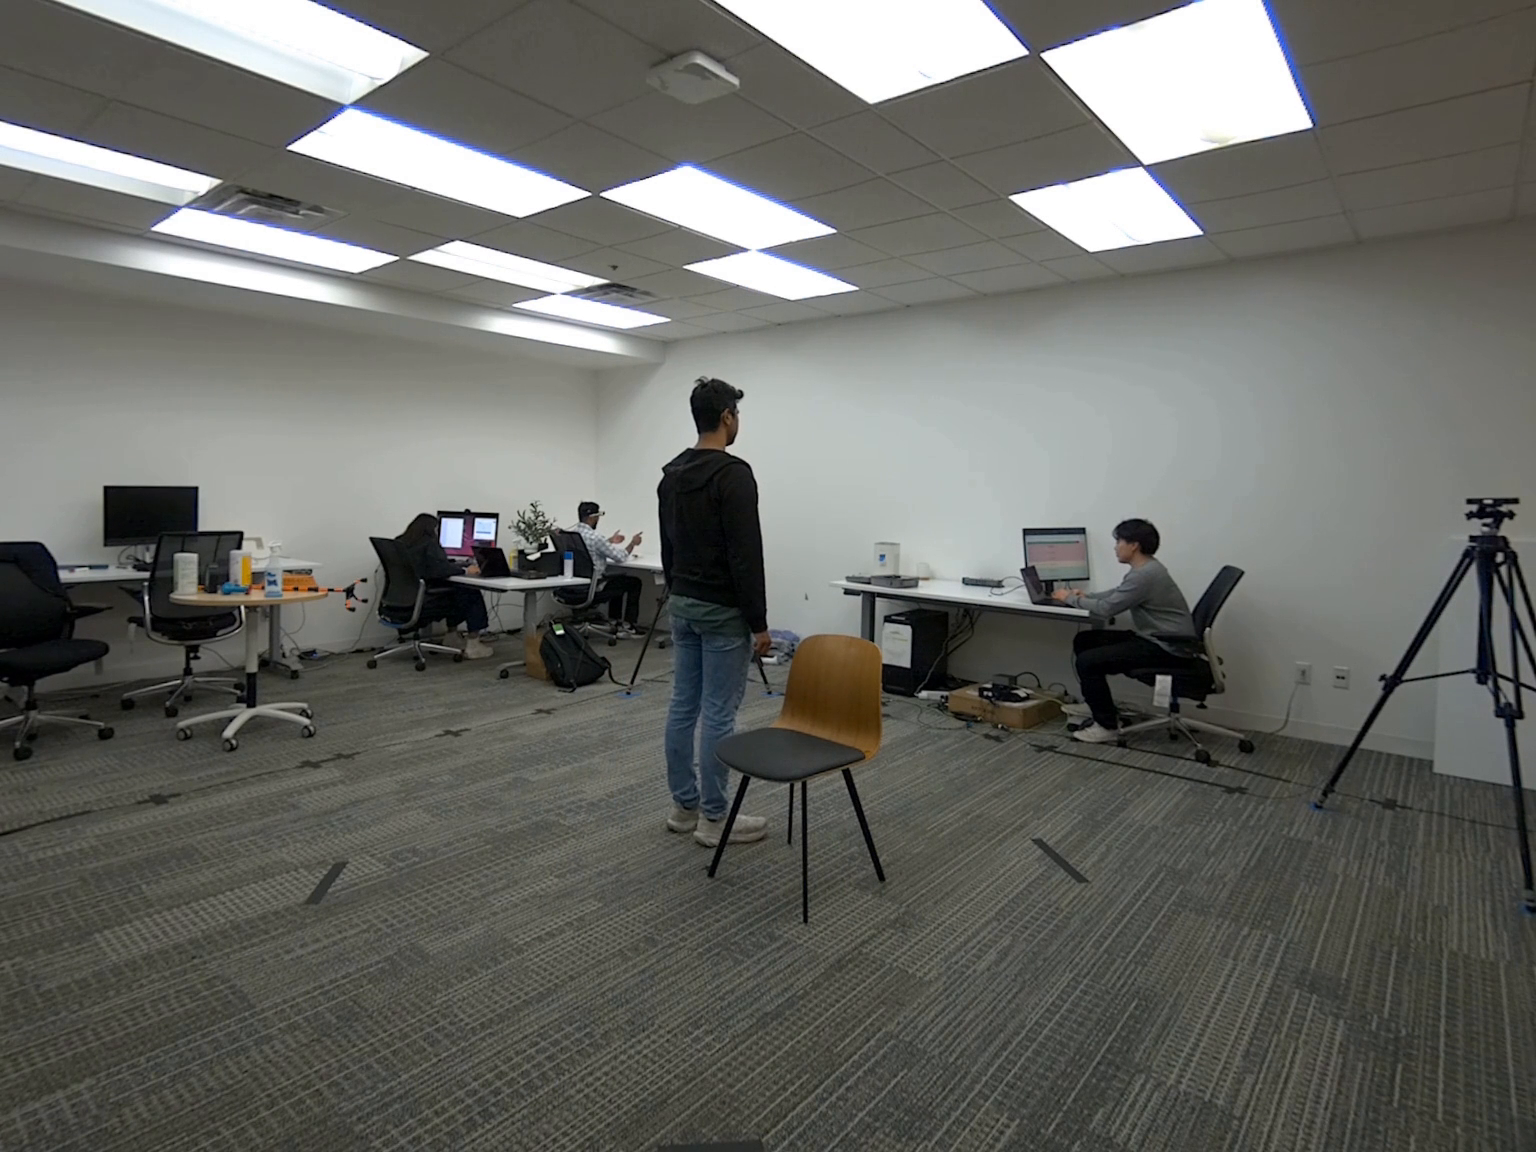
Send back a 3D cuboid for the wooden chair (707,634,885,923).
[{"bbox_3d":[0.102,0.657,3.007,0.494,0.877,0.505,5,0,43],"label":"wooden chair"}]
